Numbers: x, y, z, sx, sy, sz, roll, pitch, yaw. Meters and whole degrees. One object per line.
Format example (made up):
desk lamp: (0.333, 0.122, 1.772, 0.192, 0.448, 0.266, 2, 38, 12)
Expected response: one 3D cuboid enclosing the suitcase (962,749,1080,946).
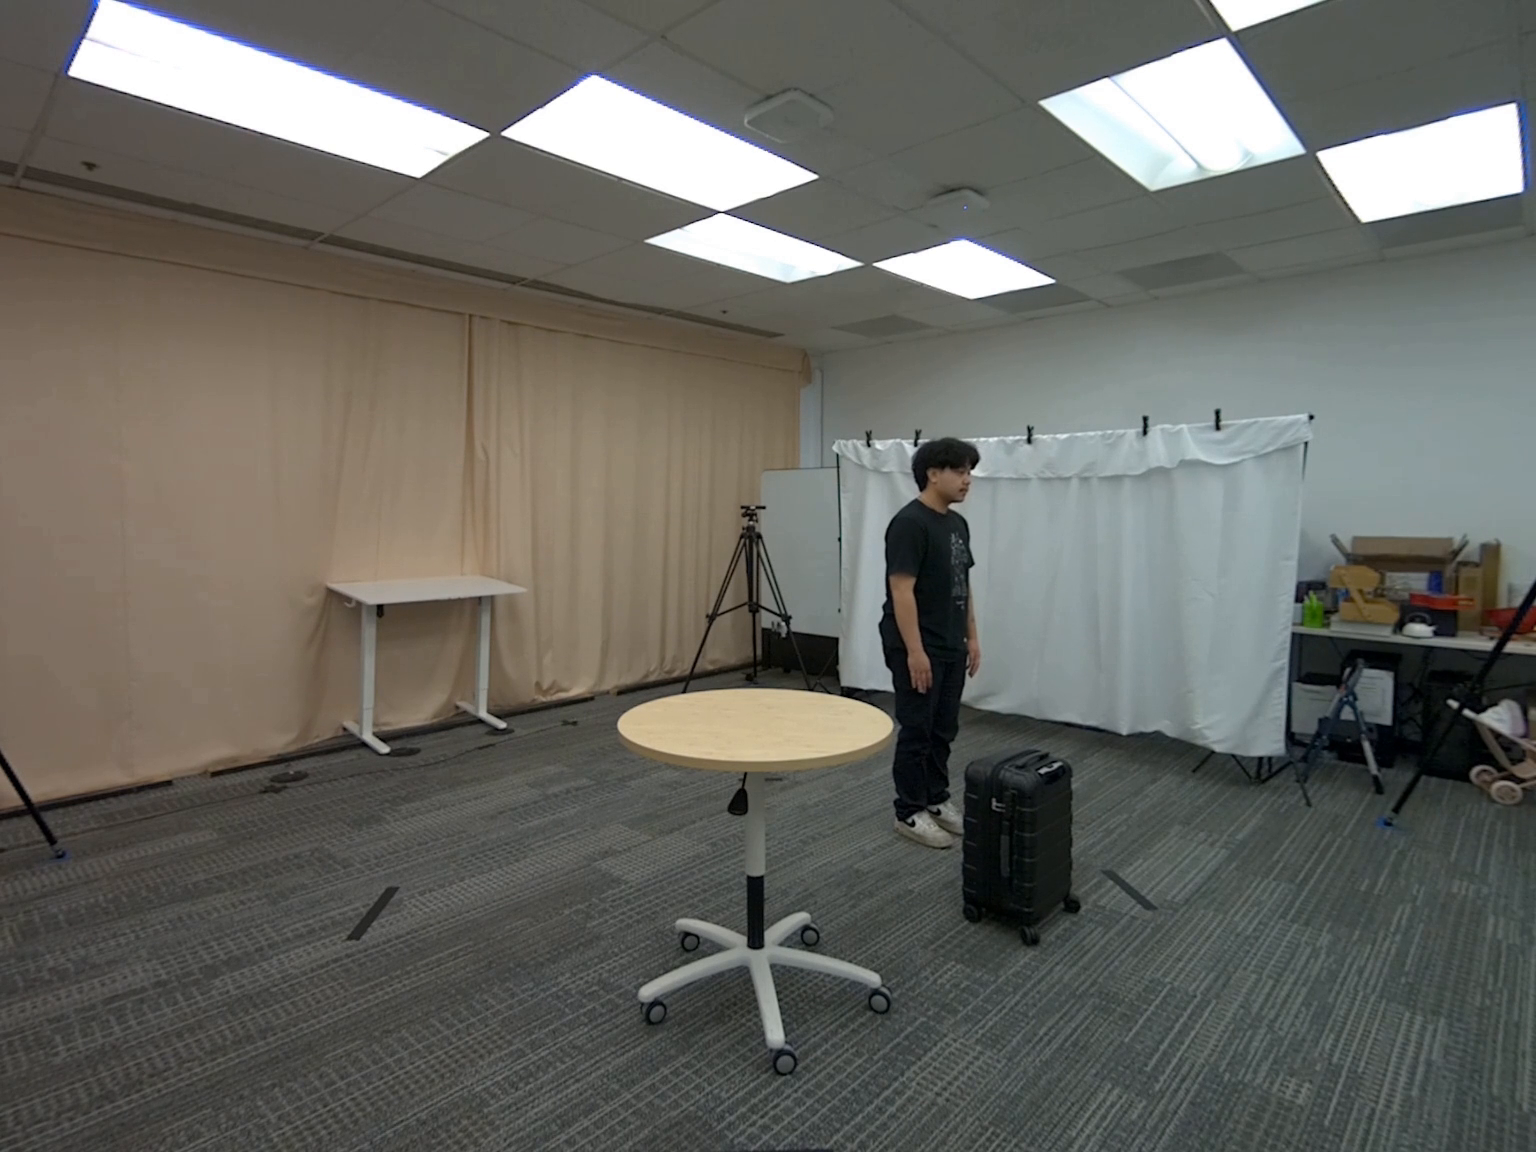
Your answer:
suitcase: (0.855, 0.875, 2.860, 0.256, 0.549, 0.364, 0, 2, 43)
